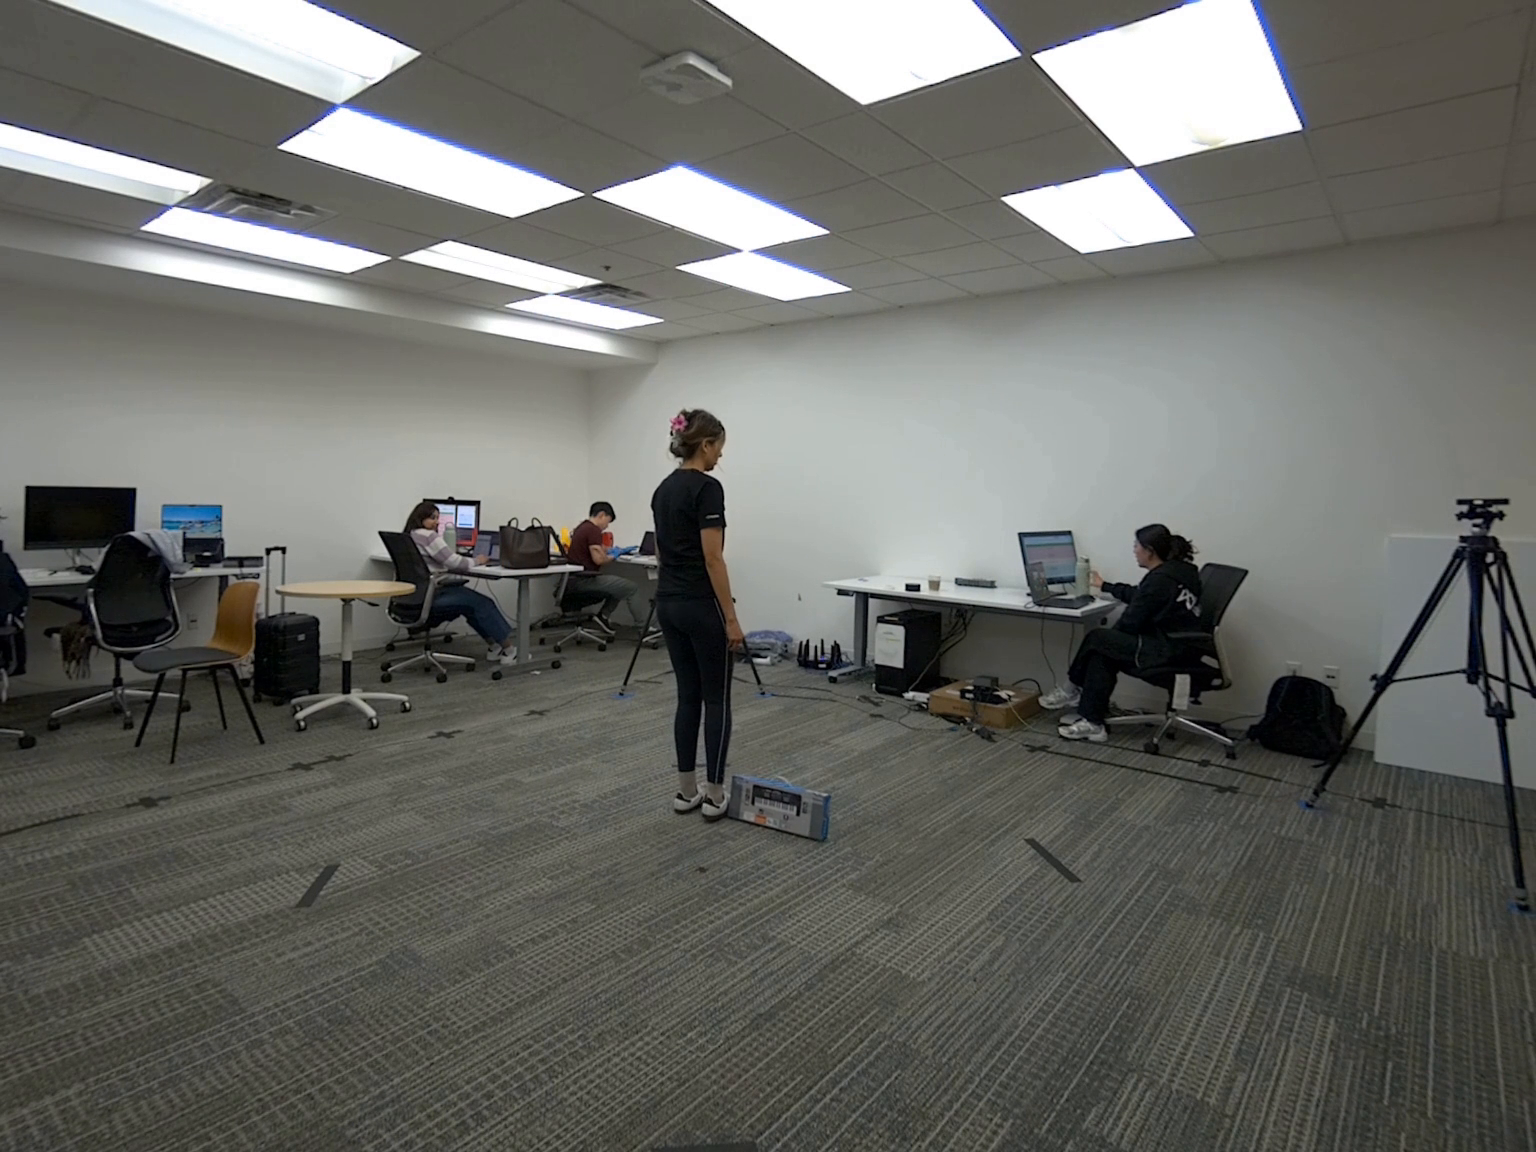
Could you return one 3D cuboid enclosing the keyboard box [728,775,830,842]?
[{"bbox_3d":[0.036,0.949,3.511,0.450,0.176,0.057,5,-5,31],"label":"keyboard box"}]
